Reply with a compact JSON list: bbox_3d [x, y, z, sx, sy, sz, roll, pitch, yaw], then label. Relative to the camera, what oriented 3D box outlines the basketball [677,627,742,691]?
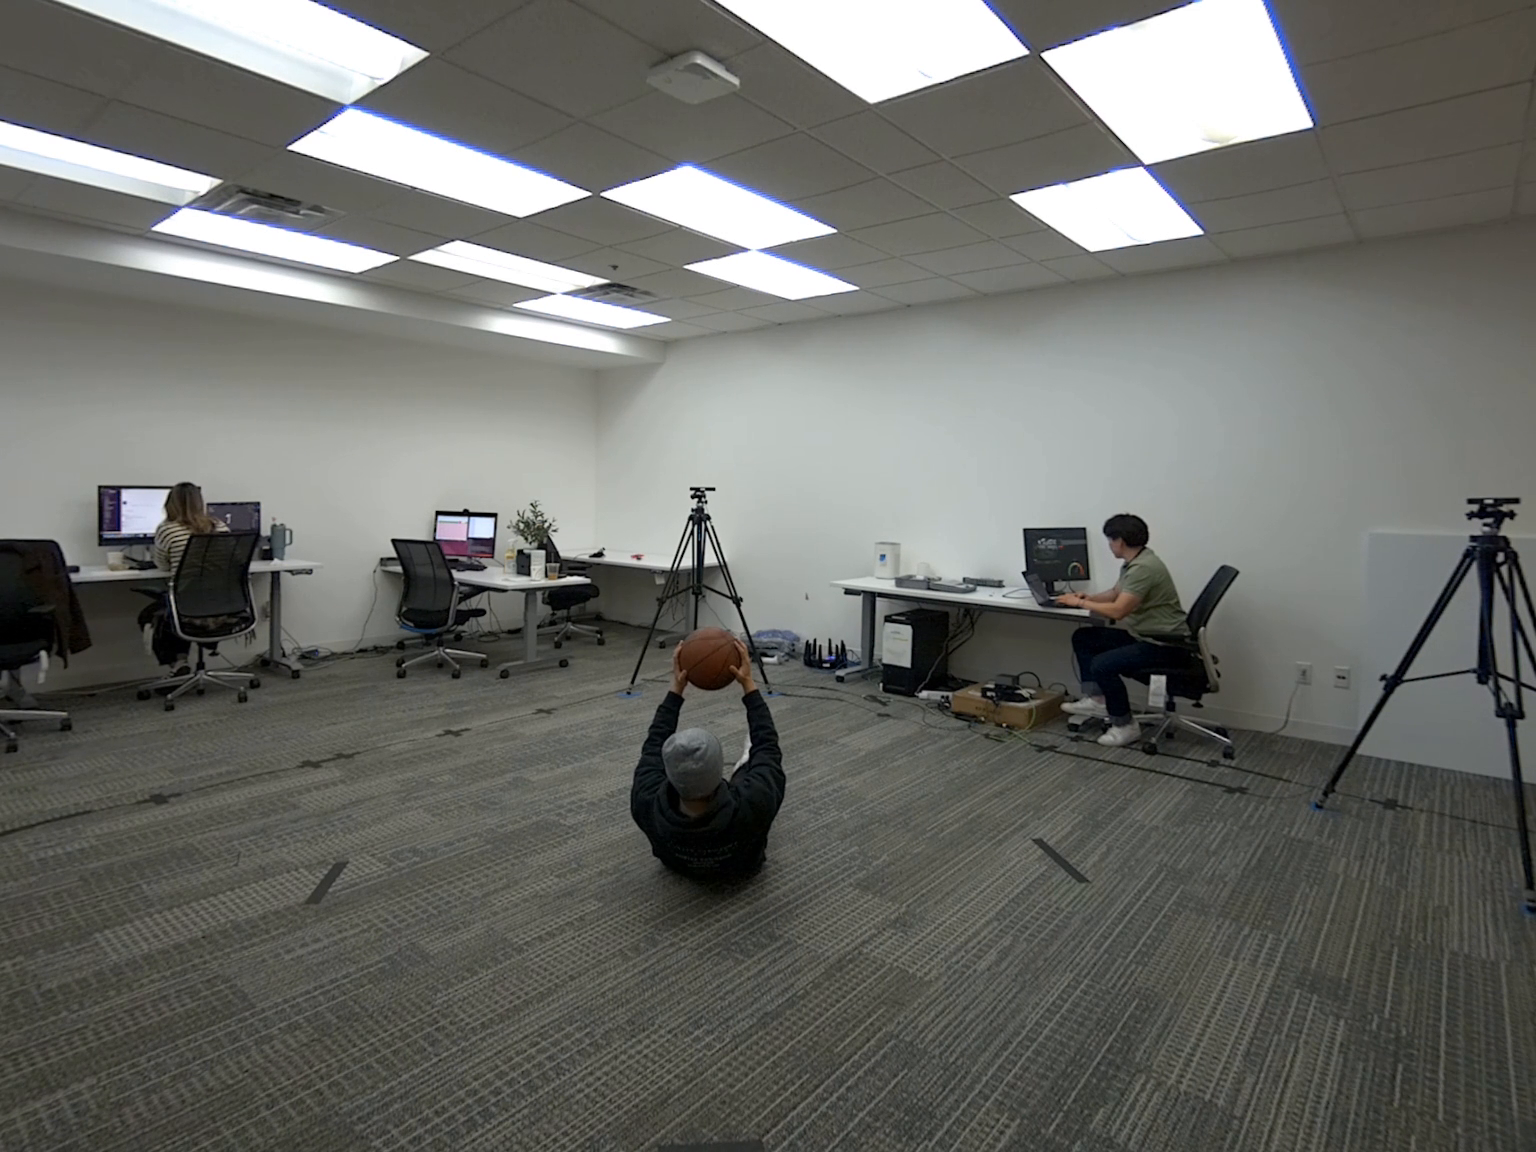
[{"bbox_3d":[-0.222,0.307,3.189,0.235,0.235,0.237,1,4,-2],"label":"basketball"}]
